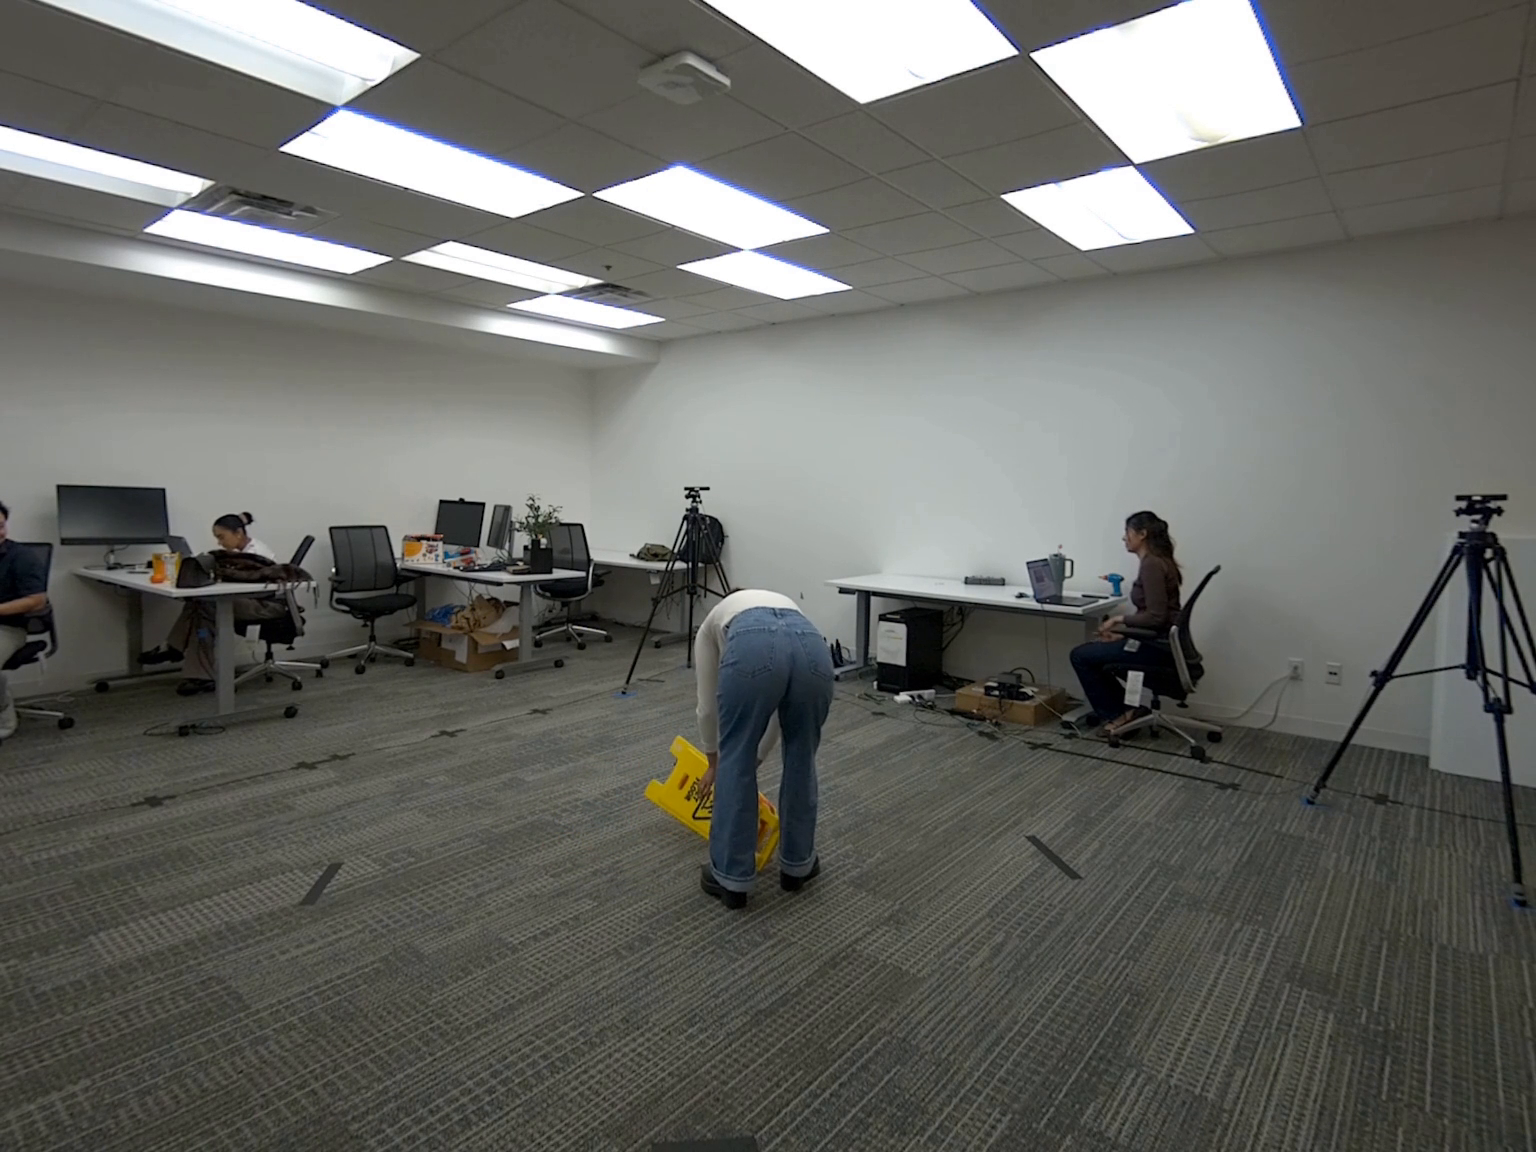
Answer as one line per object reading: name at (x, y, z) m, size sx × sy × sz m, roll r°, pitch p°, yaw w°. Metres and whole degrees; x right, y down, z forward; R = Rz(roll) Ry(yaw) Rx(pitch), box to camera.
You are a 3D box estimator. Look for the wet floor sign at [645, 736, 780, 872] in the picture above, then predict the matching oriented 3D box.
wet floor sign at (-0.180, 0.906, 3.339) m, size 0.278 × 0.283 × 0.670 m, roll 35°, pitch -9°, yaw -35°
